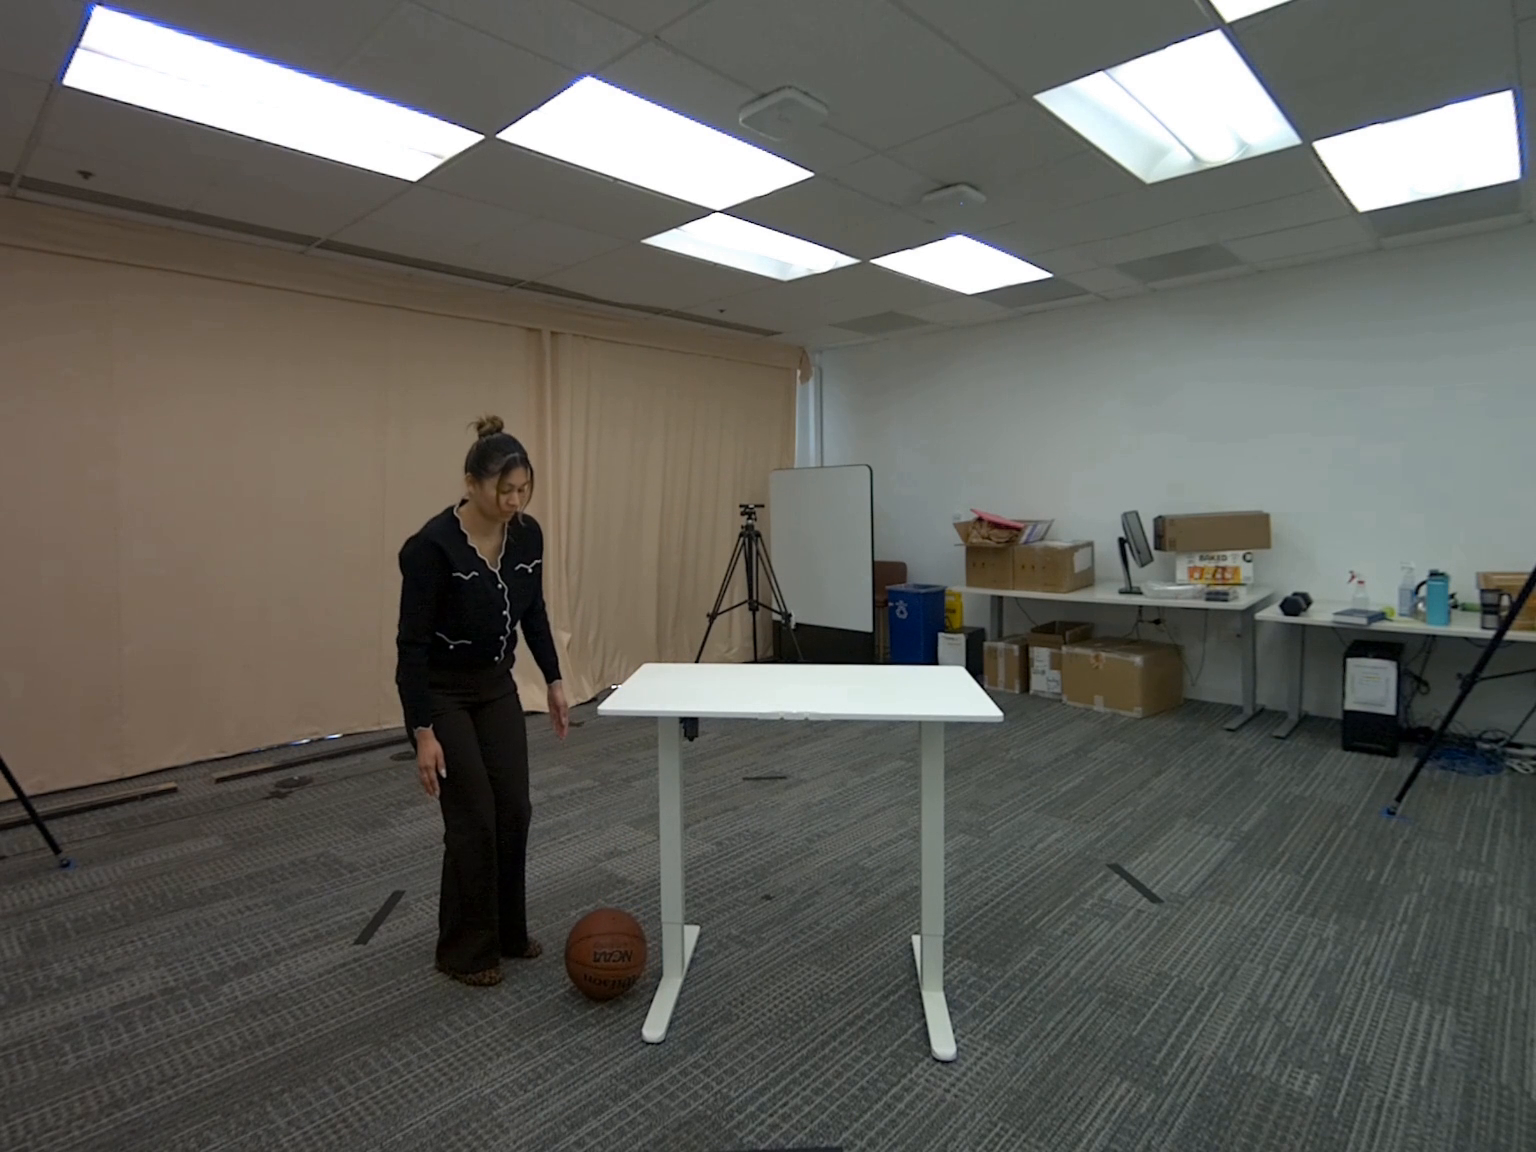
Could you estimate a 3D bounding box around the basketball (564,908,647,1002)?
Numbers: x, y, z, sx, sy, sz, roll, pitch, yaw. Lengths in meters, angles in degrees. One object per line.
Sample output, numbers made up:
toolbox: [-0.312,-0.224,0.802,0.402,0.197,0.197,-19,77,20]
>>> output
basketball: [-0.465,1.082,2.402,0.236,0.235,0.237,-1,4,-2]
